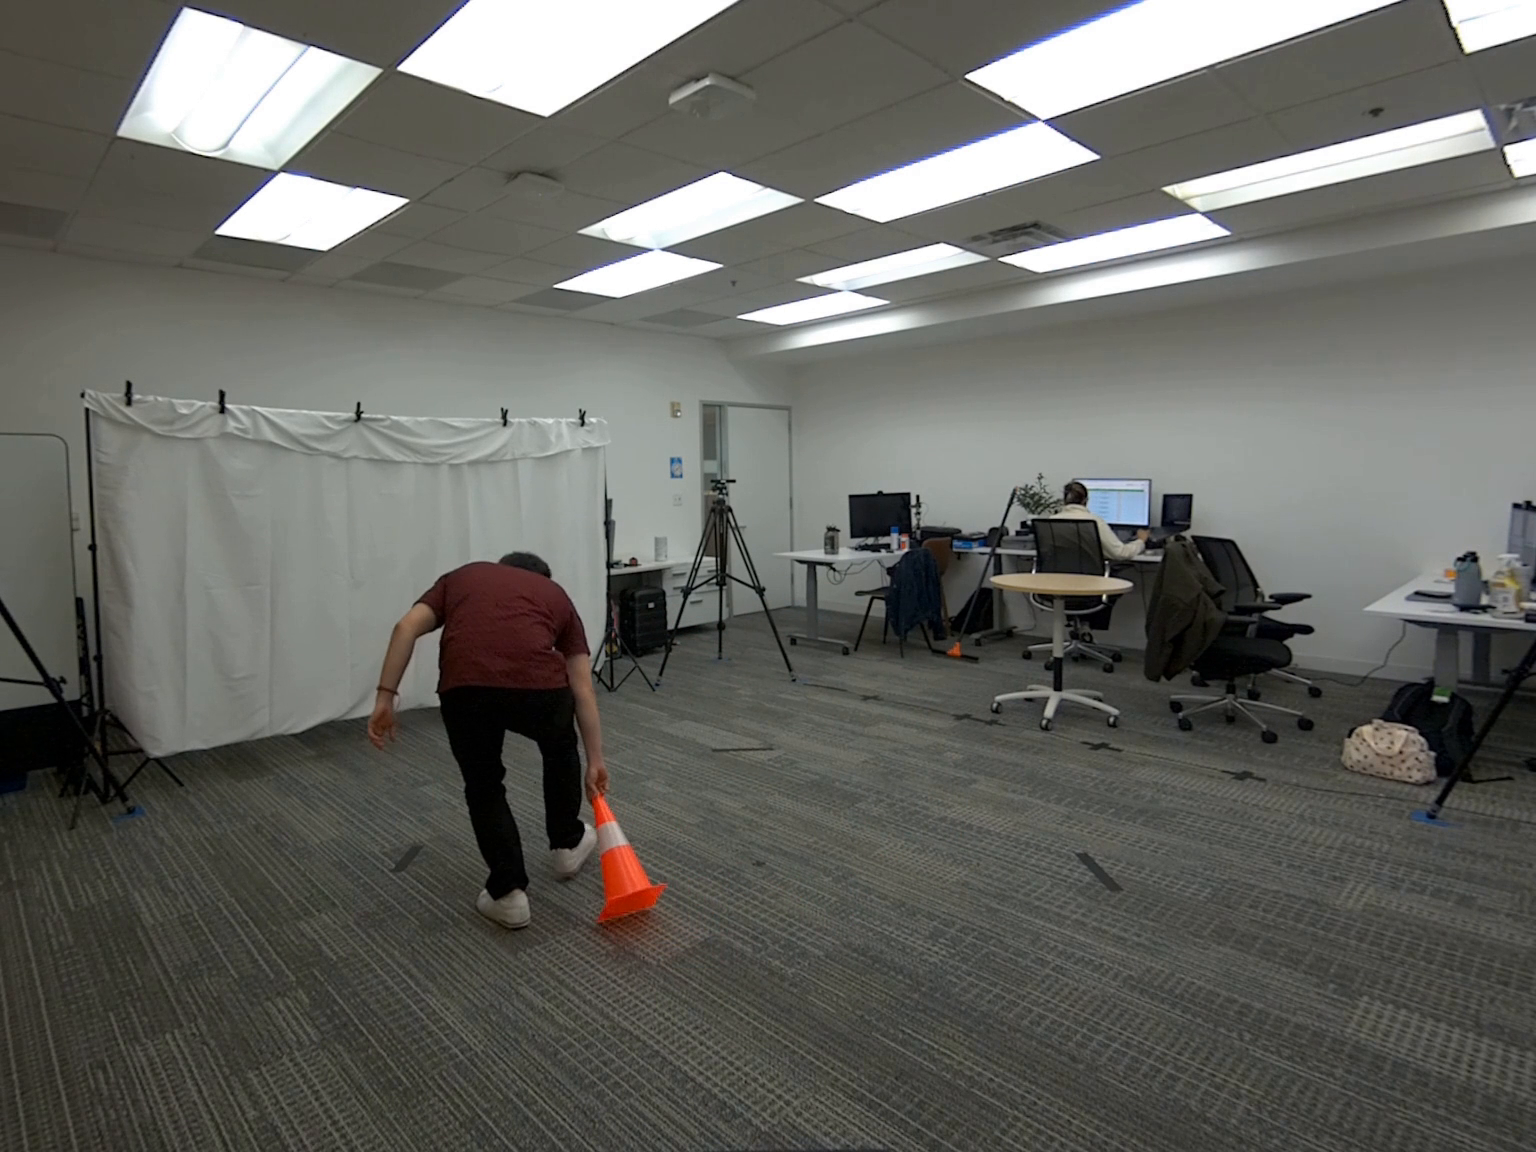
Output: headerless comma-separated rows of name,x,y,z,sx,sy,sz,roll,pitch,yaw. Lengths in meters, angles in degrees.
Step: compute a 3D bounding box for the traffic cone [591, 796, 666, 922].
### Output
traffic cone,-0.511,0.888,2.793,0.200,0.397,0.201,-7,-39,-30
